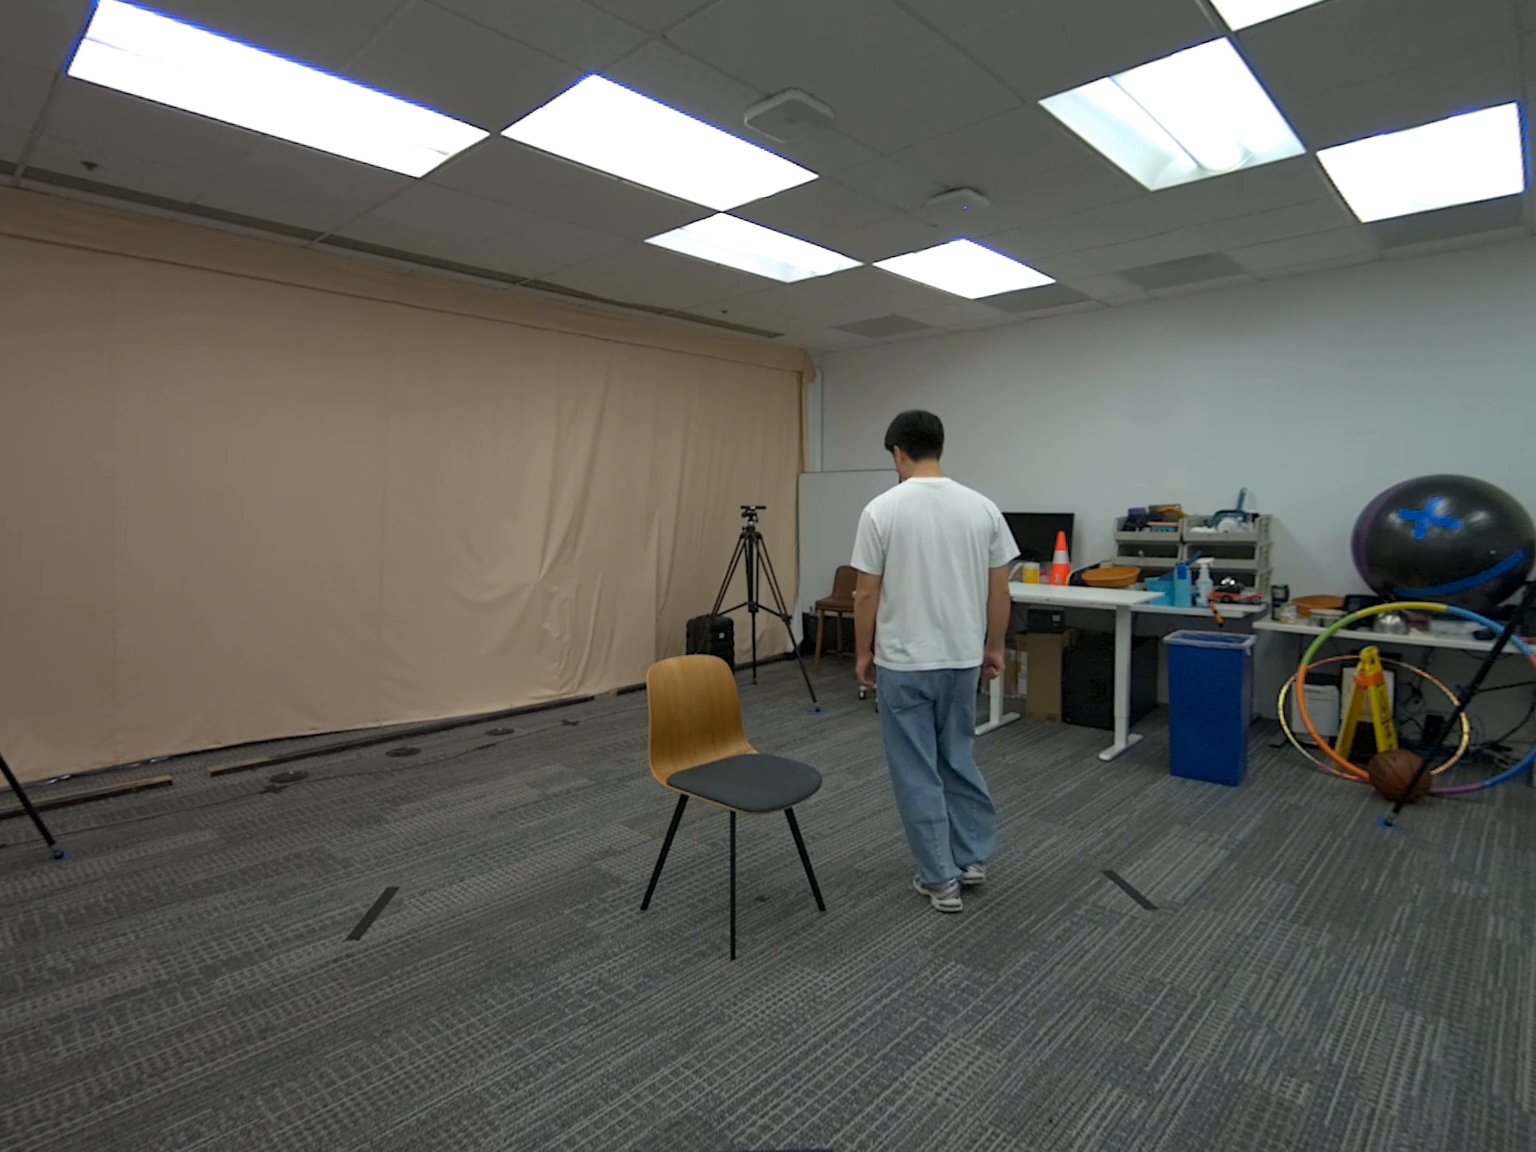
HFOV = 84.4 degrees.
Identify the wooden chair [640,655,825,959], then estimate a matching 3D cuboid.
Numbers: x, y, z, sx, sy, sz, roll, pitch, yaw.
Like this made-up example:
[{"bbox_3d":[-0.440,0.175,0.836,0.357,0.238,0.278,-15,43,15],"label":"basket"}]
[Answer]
[{"bbox_3d":[-0.113,0.729,2.858,0.539,0.877,0.463,-3,1,45],"label":"wooden chair"}]
